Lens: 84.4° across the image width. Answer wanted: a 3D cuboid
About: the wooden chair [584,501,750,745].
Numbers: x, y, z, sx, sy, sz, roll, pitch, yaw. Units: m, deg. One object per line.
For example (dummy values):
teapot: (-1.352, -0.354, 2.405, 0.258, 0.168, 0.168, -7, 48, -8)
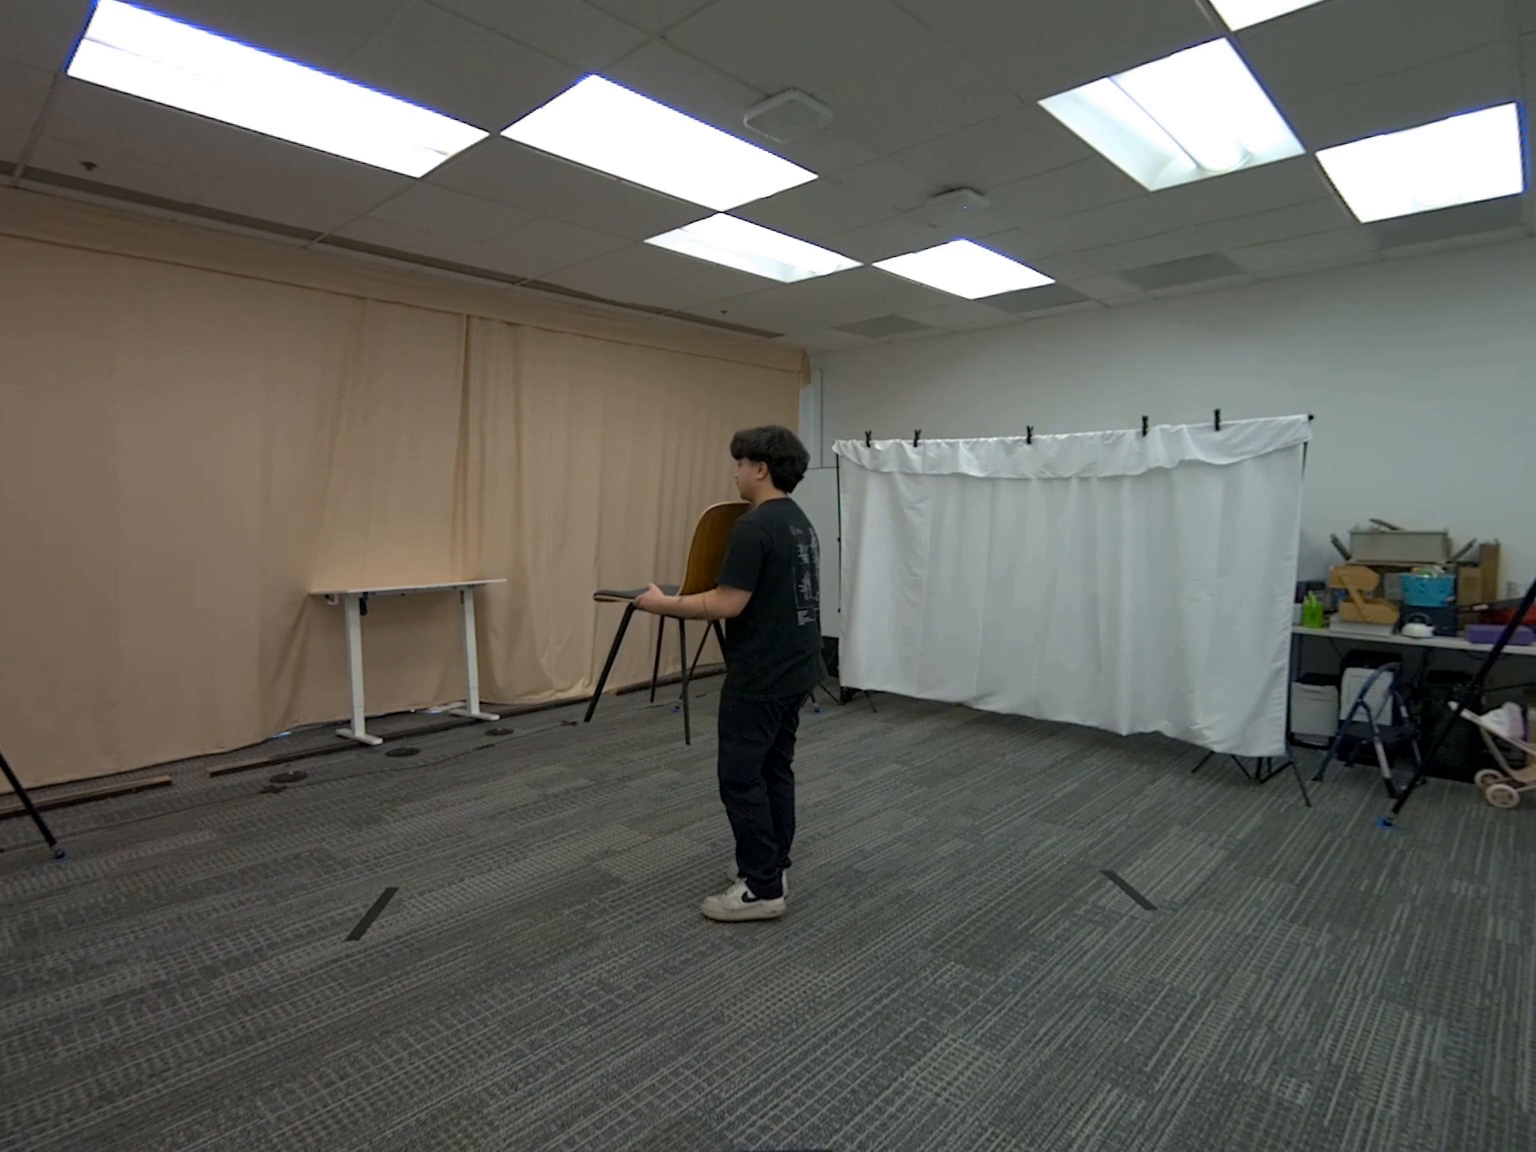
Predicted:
wooden chair: (-0.359, 0.133, 3.174, 0.538, 0.875, 0.466, 10, 6, 27)
